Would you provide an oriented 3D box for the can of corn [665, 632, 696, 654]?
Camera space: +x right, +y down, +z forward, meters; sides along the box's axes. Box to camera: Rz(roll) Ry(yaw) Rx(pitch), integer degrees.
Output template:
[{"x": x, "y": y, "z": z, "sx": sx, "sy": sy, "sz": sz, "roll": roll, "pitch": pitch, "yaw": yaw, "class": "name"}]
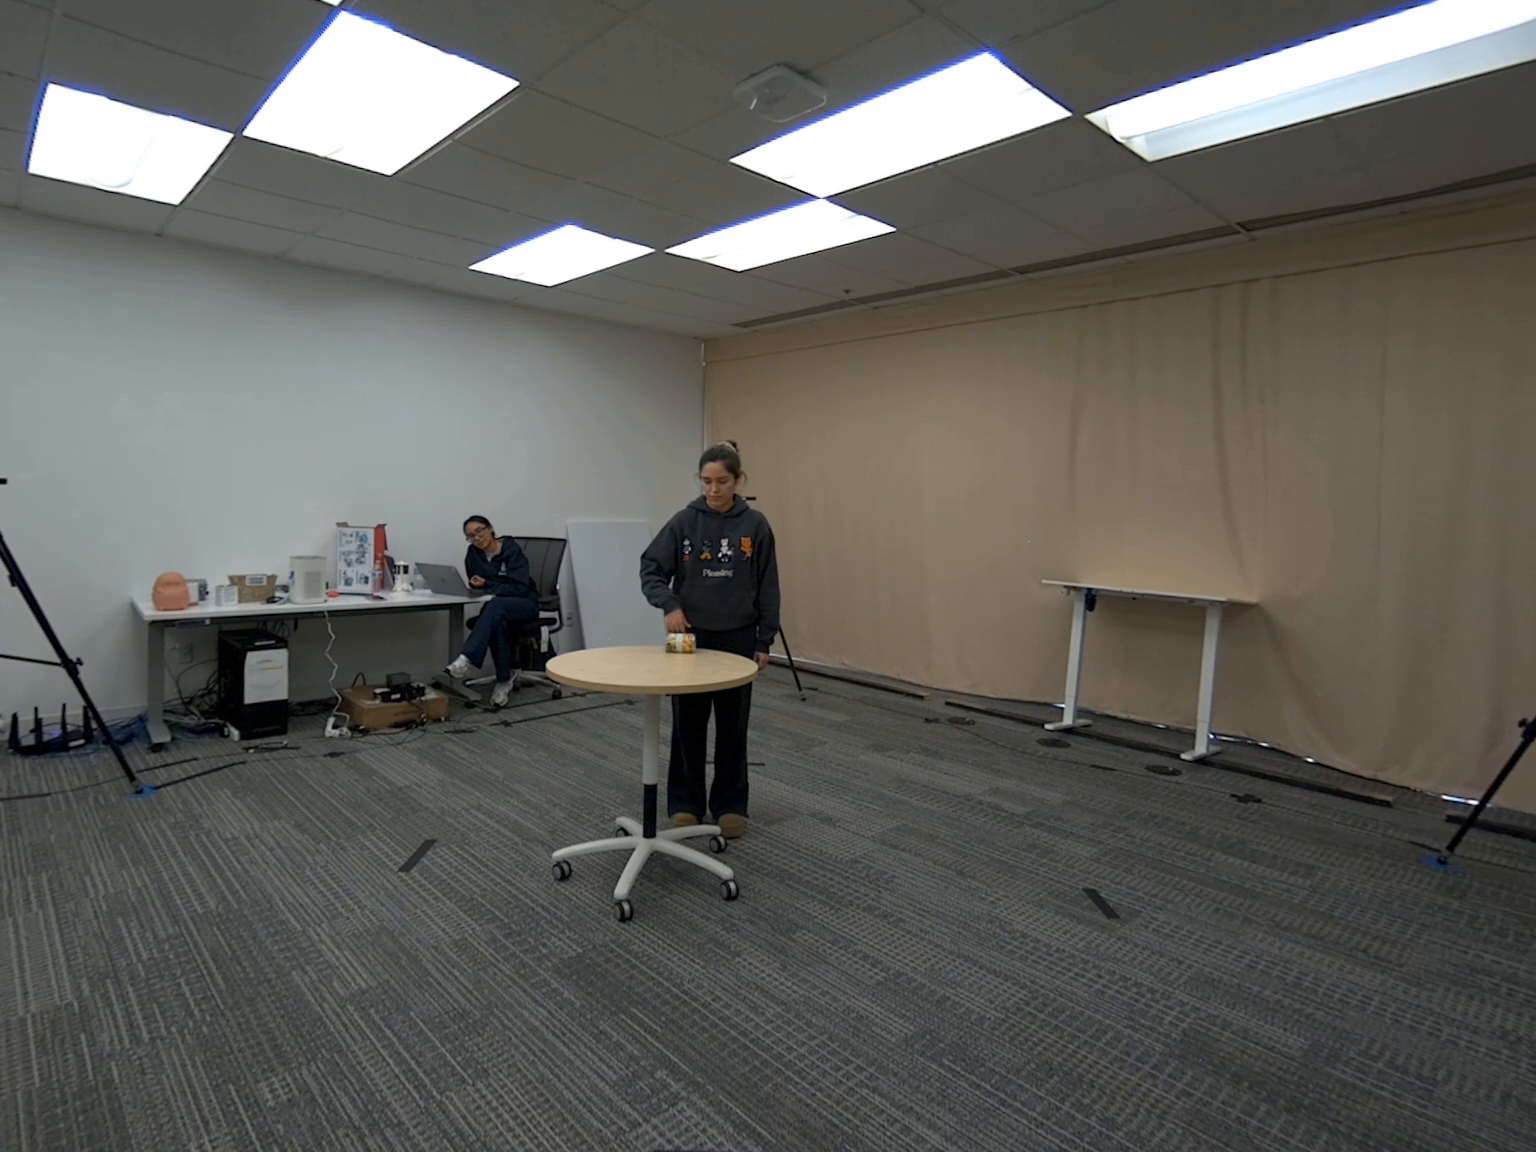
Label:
[{"x": -0.364, "y": 0.266, "z": 3.325, "sx": 0.112, "sy": 0.074, "sz": 0.074, "roll": 3, "pitch": 5, "yaw": 7, "class": "can of corn"}]
